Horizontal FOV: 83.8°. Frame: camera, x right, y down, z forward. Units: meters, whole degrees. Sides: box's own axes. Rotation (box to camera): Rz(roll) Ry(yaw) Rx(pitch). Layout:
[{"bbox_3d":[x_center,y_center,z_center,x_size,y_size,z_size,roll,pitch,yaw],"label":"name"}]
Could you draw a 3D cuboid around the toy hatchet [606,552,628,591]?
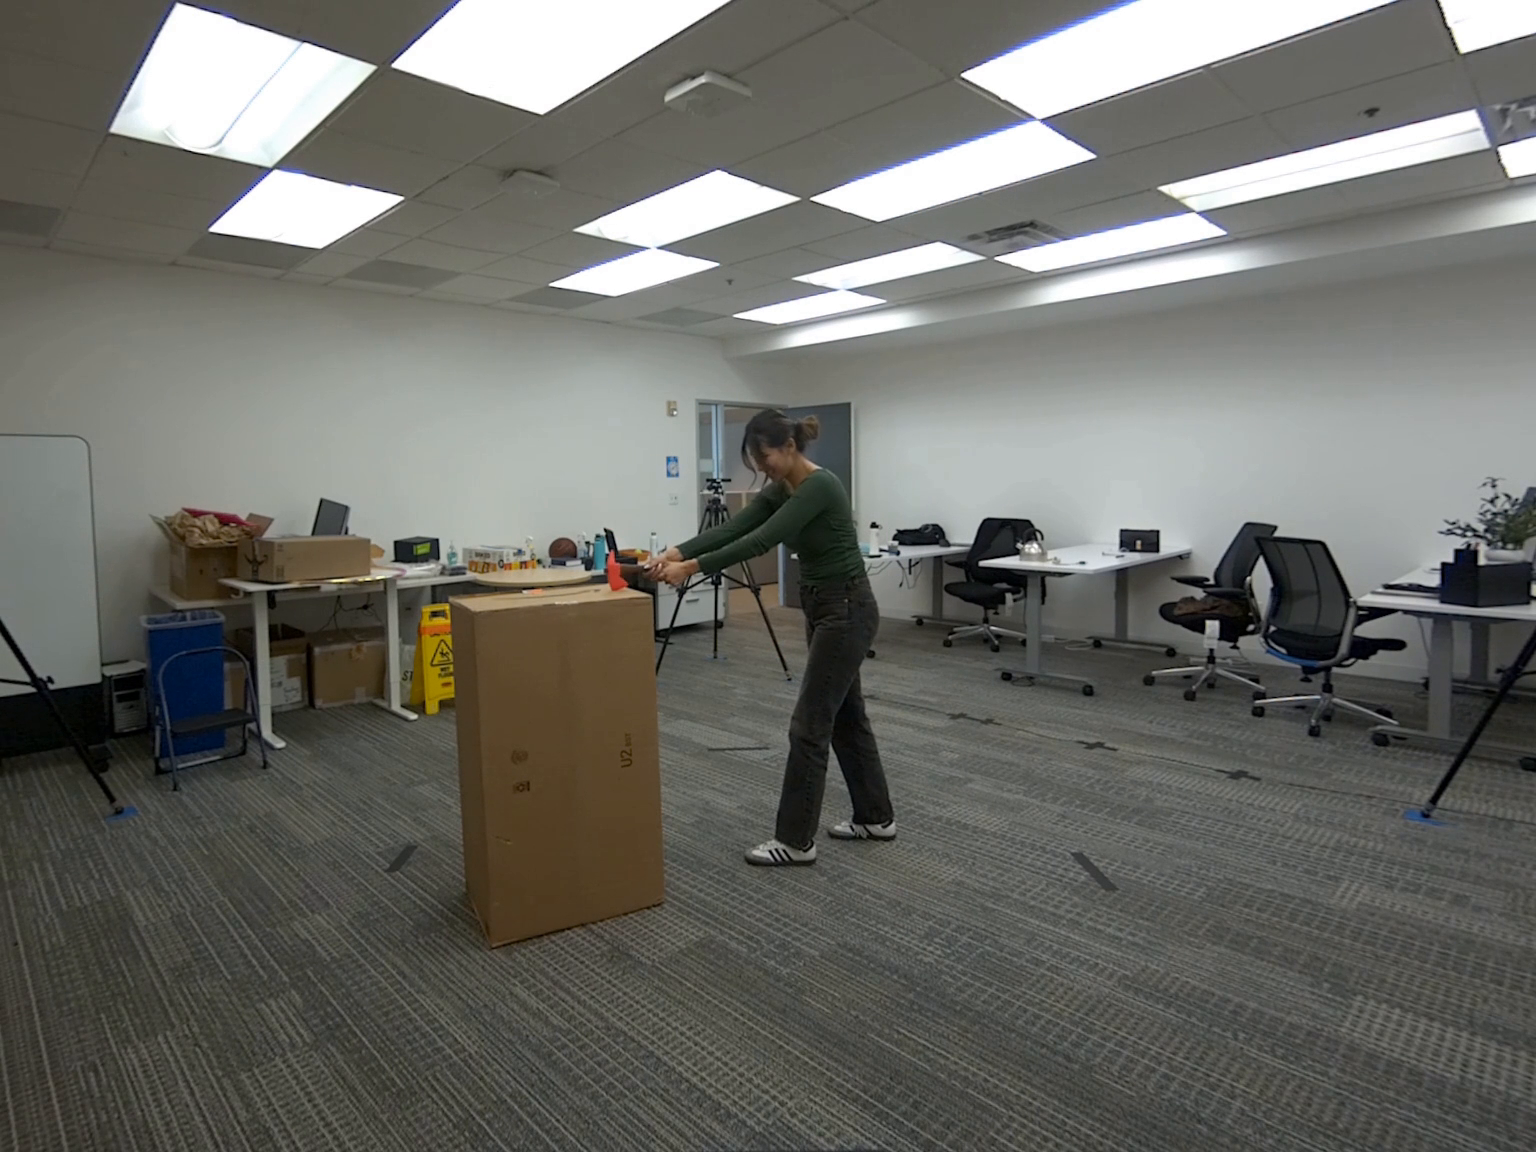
[{"bbox_3d":[-0.444,-0.001,2.927,0.264,0.132,0.030,14,-9,-20],"label":"toy hatchet"}]
